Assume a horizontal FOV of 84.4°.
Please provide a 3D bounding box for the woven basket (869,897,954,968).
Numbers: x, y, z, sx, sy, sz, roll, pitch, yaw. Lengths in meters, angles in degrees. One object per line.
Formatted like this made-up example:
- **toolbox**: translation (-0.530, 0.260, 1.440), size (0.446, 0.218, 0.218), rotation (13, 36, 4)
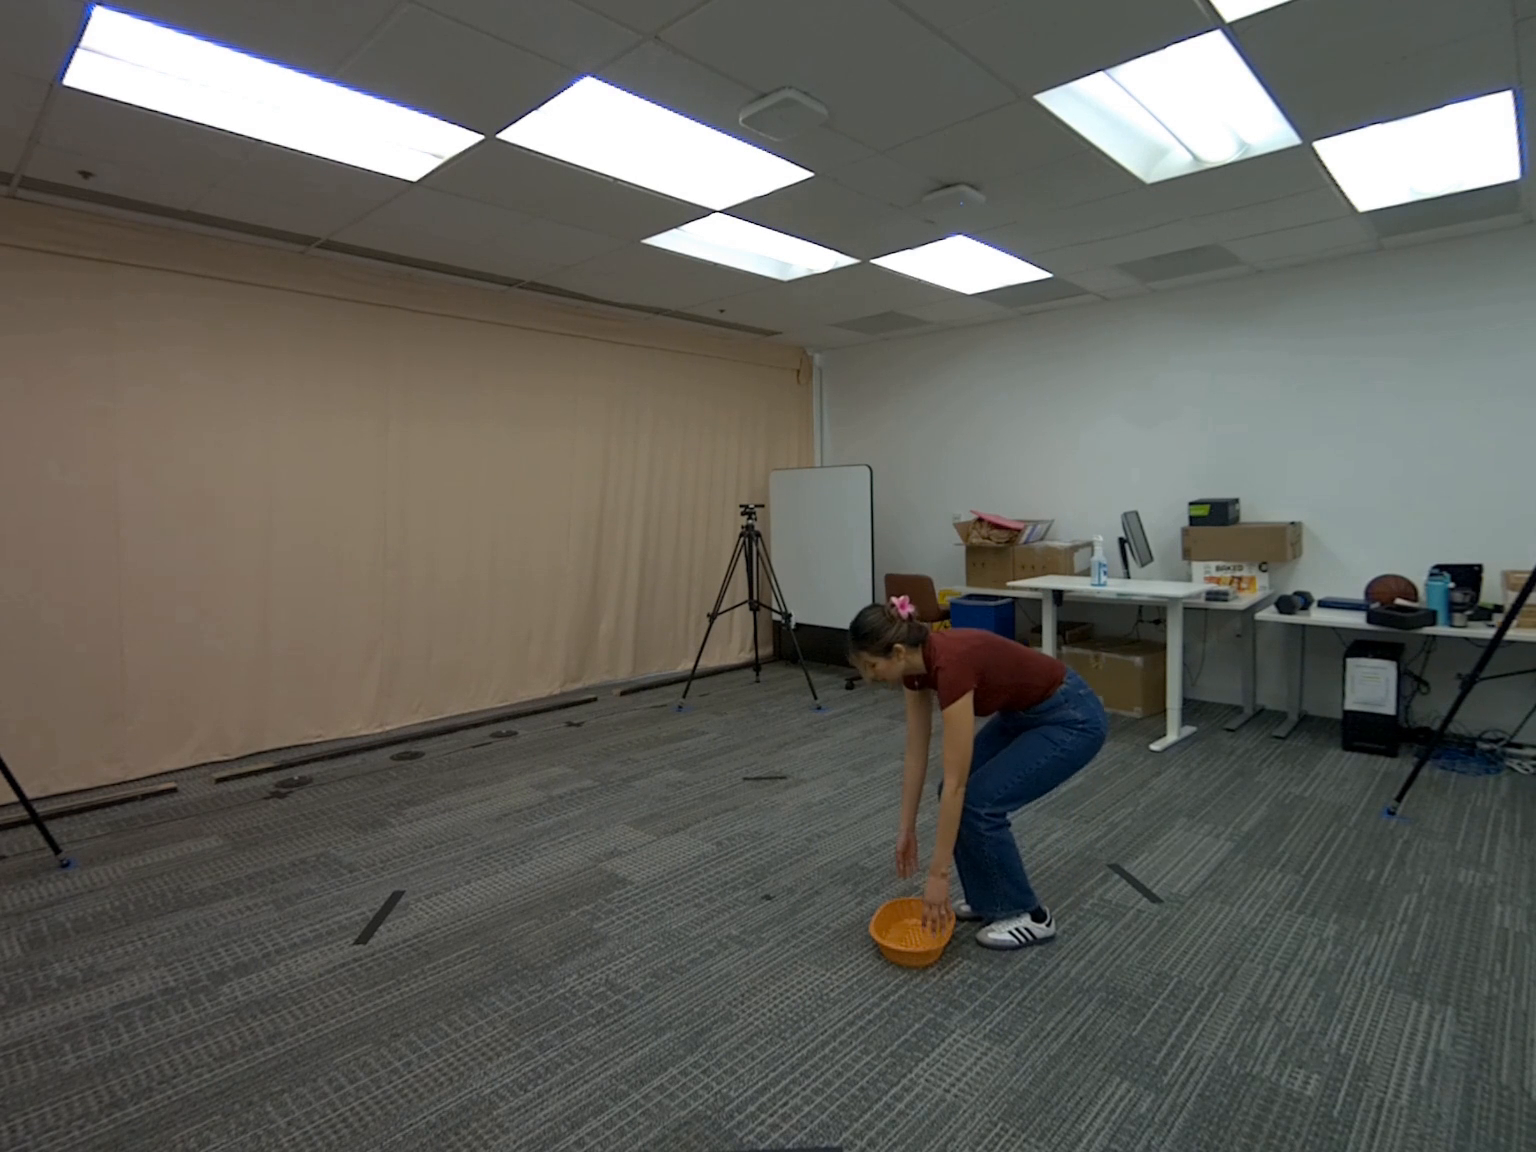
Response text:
- **woven basket**: translation (0.458, 1.122, 2.655), size (0.259, 0.073, 0.342), rotation (0, 5, 25)
